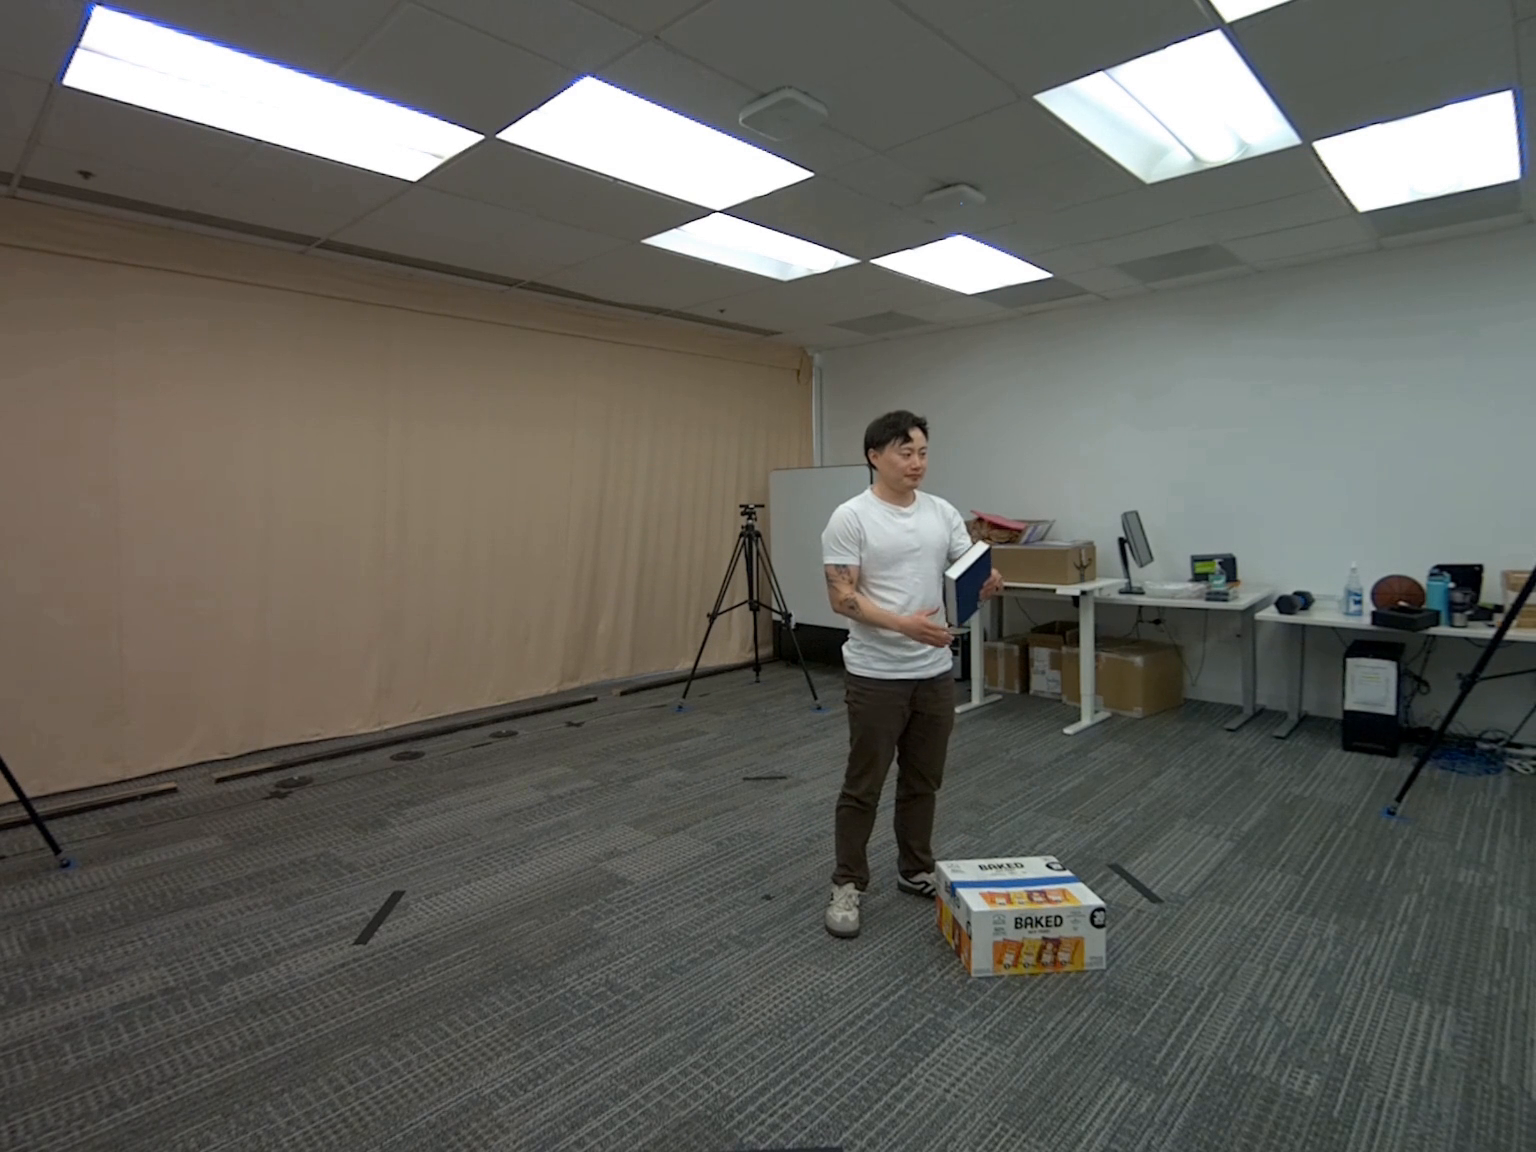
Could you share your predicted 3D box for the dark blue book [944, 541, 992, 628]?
[{"bbox_3d":[0.586,0.033,2.471,0.162,0.238,0.047,-41,53,-18],"label":"dark blue book"}]
